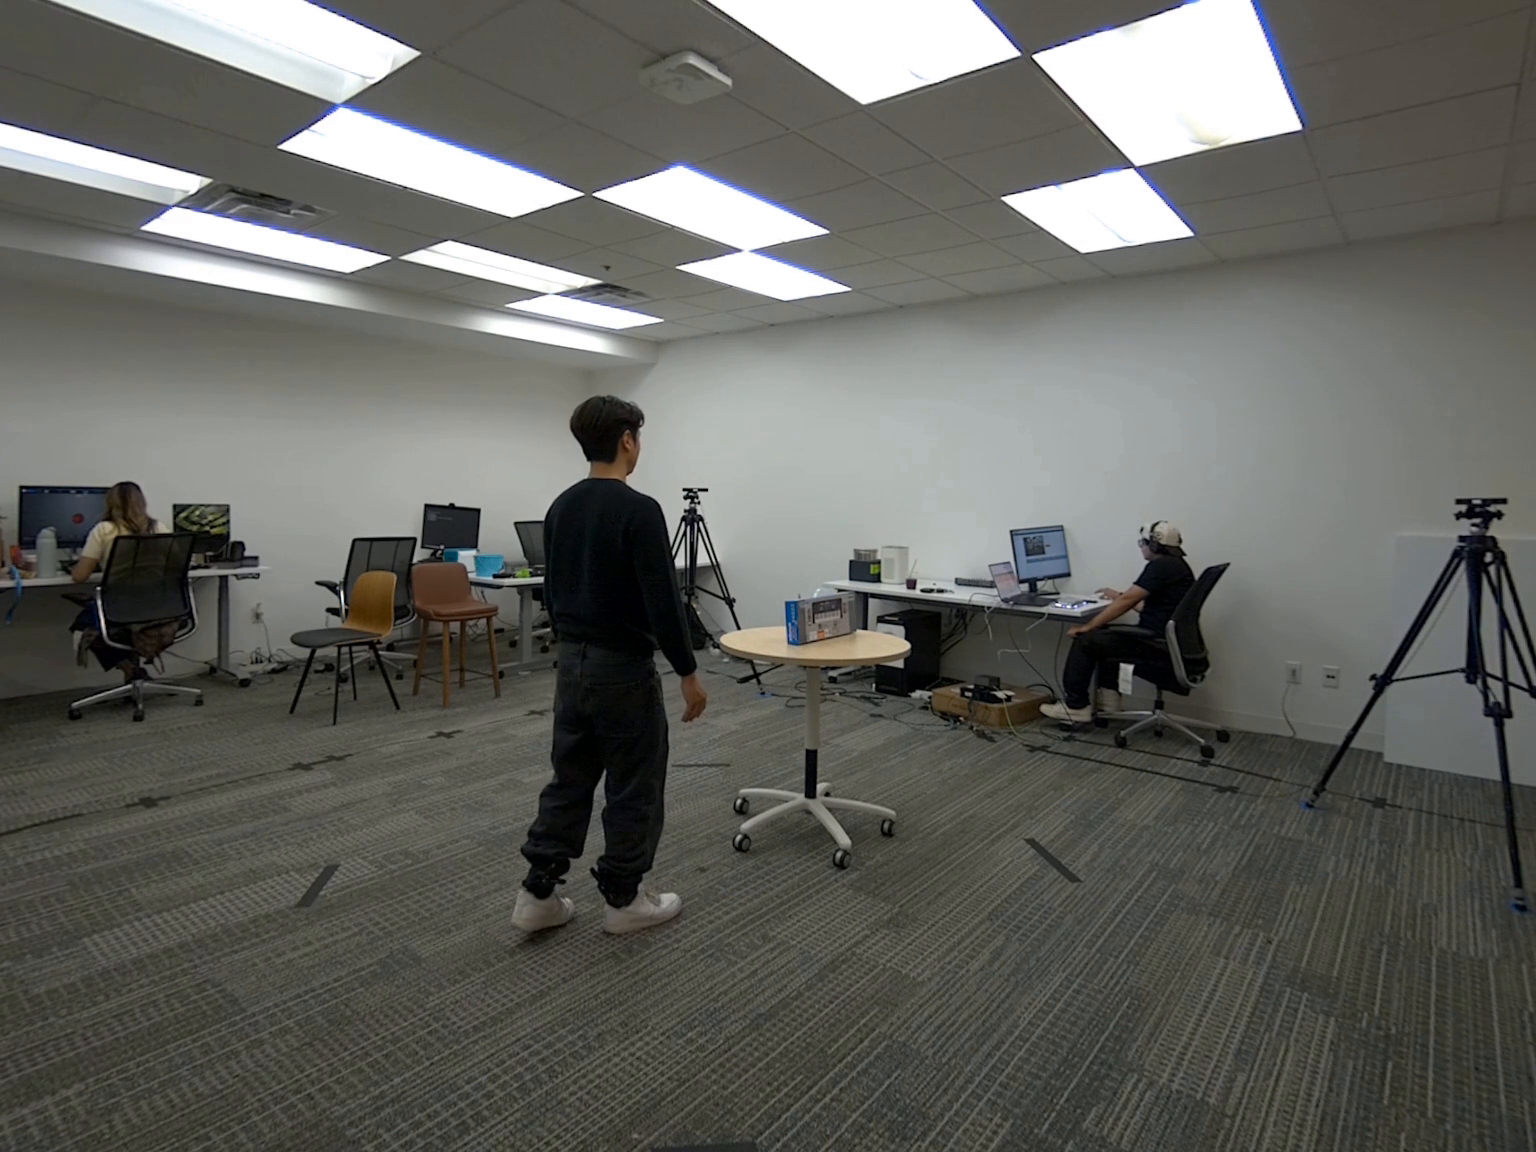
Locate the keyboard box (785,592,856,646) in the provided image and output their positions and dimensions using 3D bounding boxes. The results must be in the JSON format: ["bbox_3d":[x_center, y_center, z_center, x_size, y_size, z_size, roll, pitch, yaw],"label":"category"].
[{"bbox_3d":[0.216,0.167,3.519,0.061,0.176,0.424,-3,2,39],"label":"keyboard box"}]
